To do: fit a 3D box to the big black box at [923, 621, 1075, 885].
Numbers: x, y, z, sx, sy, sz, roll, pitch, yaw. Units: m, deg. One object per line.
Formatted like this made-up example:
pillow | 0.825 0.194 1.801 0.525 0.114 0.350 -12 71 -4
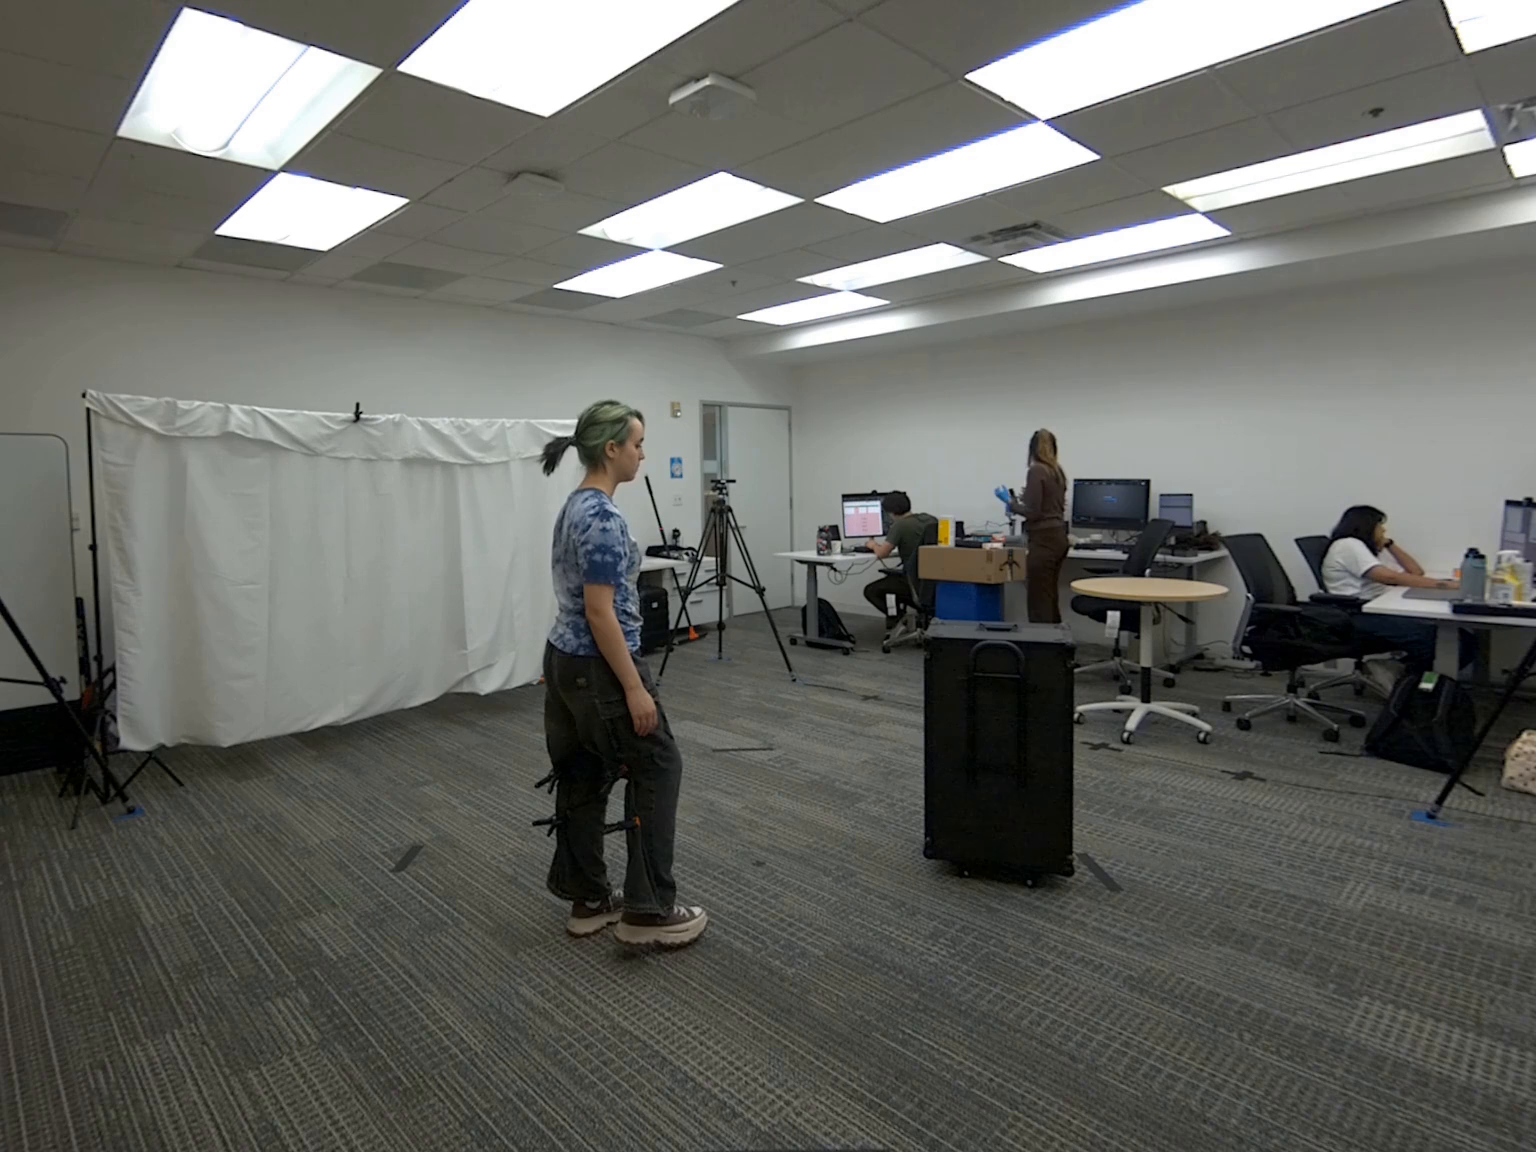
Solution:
big black box | 0.821 0.615 3.019 0.531 0.858 0.391 1 5 18
